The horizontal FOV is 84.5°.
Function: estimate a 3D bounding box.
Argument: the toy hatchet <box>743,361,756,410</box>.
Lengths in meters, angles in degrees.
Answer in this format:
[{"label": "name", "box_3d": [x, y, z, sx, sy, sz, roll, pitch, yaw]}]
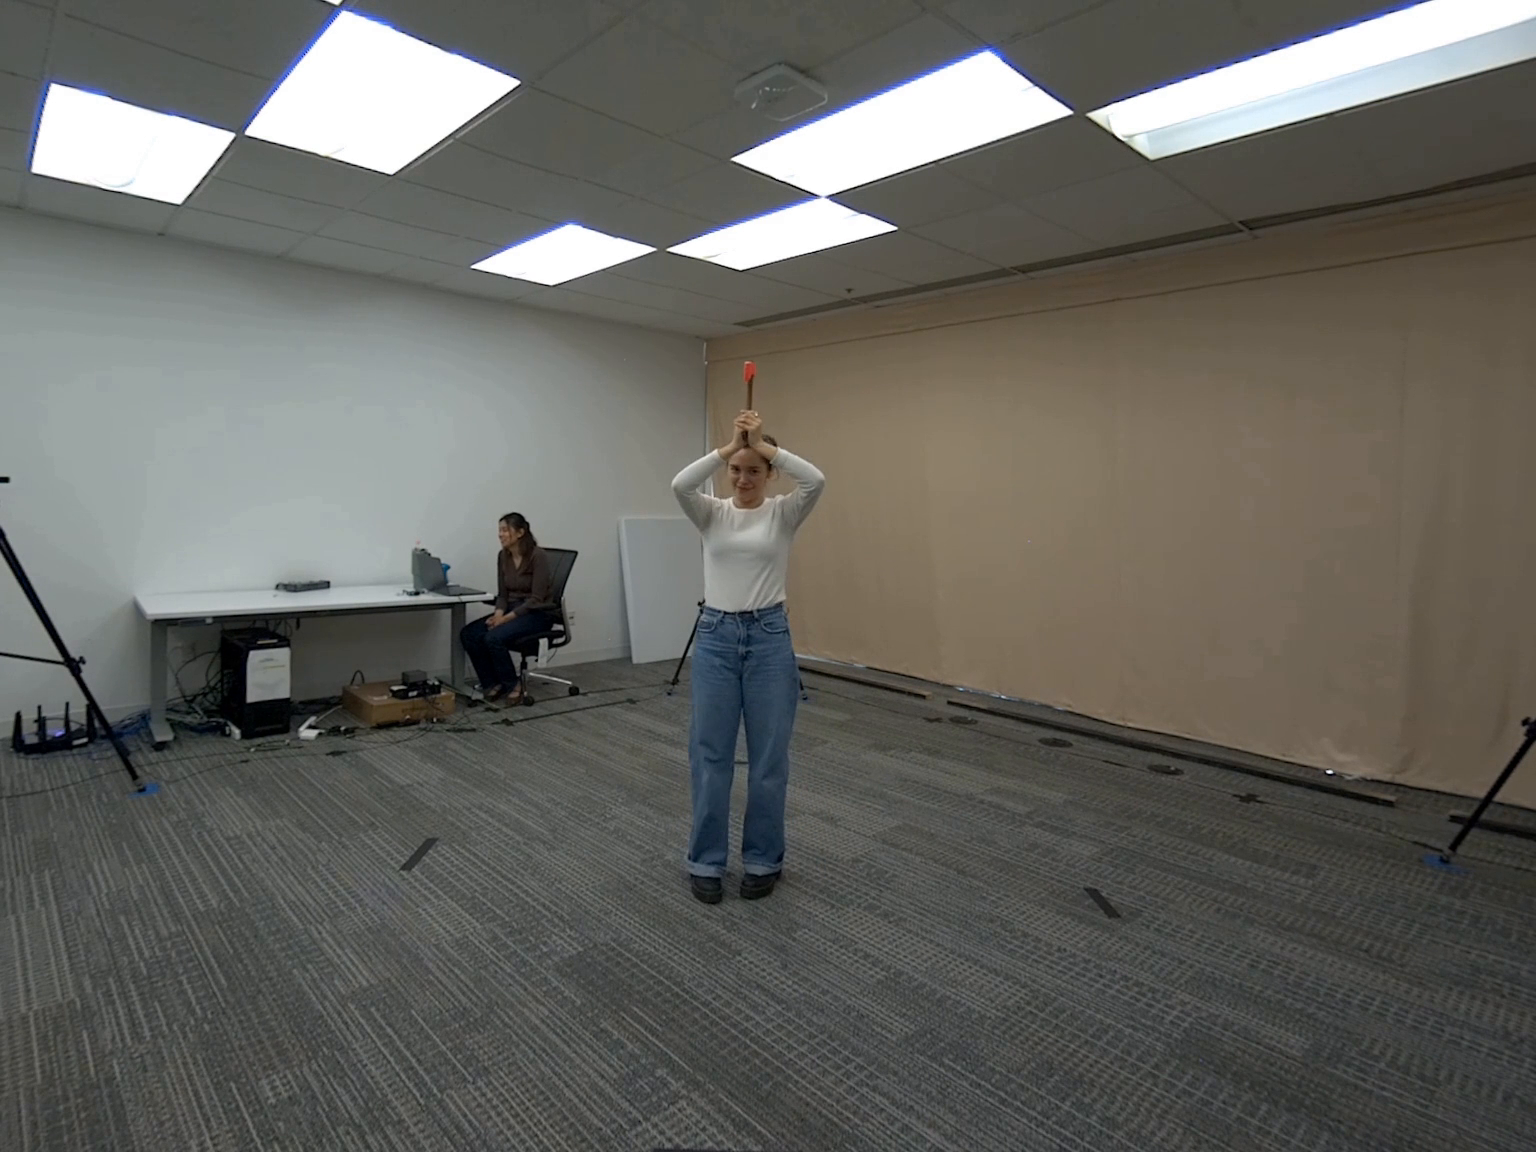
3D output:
[{"label": "toy hatchet", "box_3d": [-0.078, -0.600, 2.800, 0.030, 0.273, 0.128, 2, -18, 10]}]
